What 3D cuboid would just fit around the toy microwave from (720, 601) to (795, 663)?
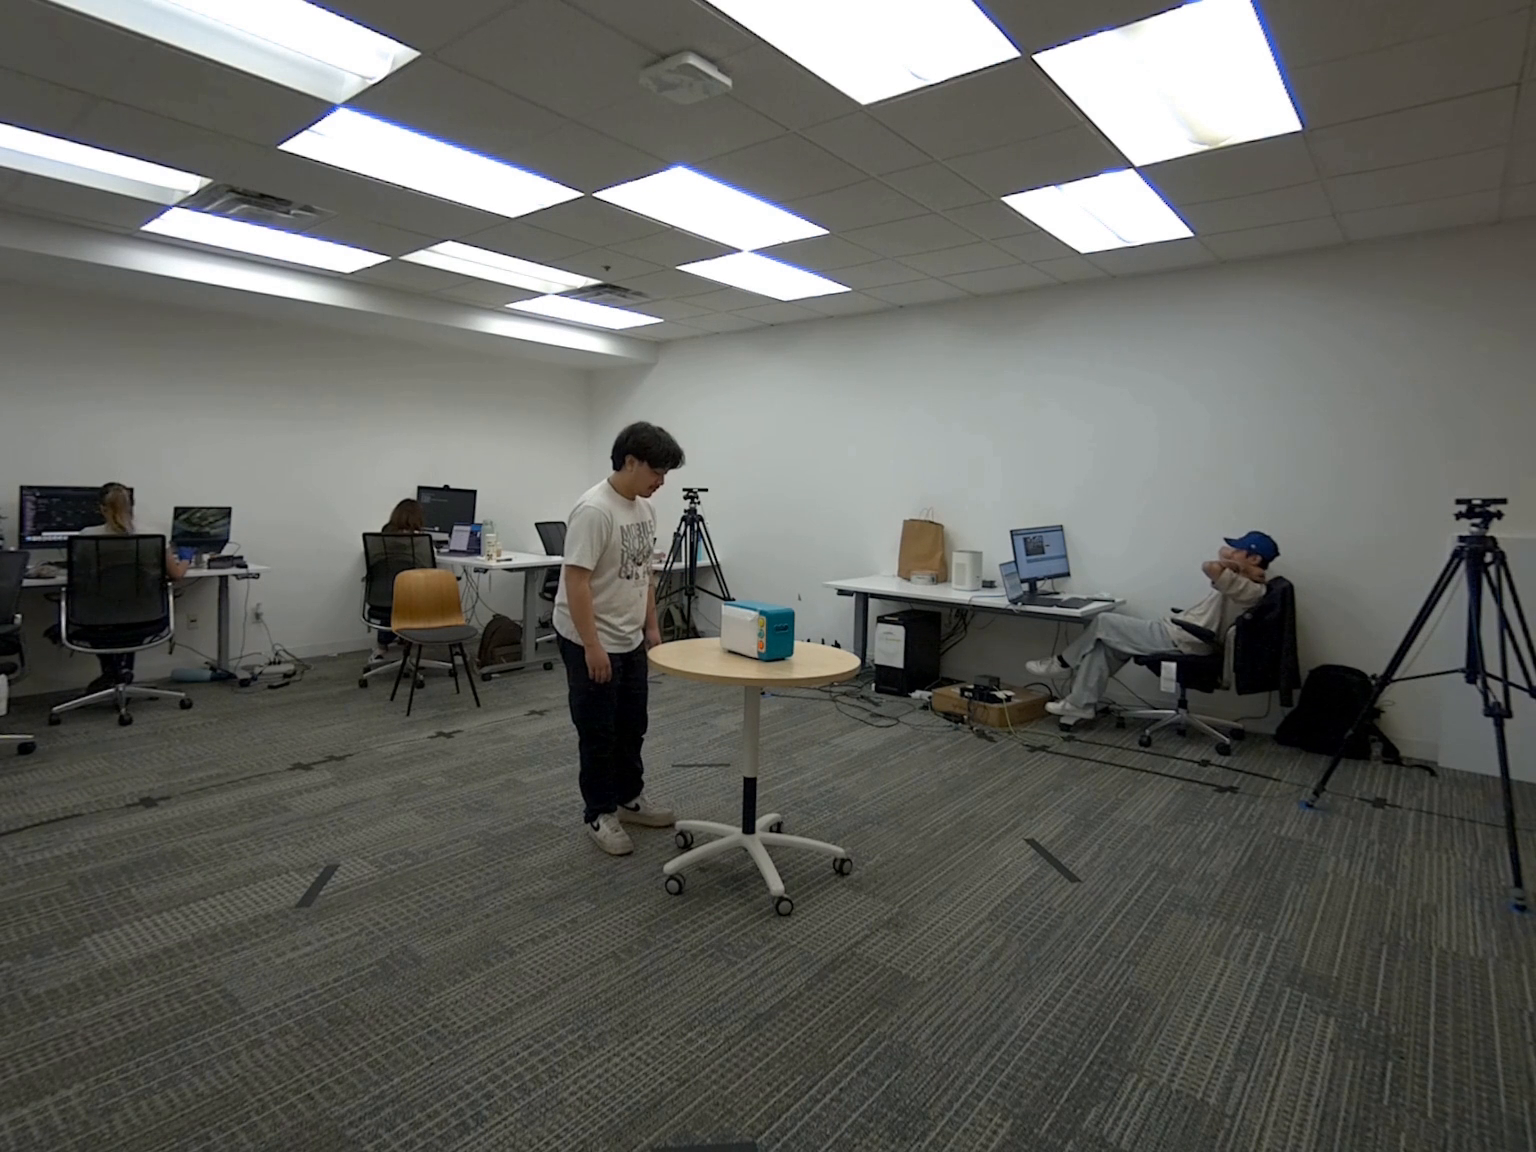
[{"bbox_3d":[-0.058,0.191,3.075,0.148,0.183,0.296,-2,6,-38],"label":"toy microwave"}]
